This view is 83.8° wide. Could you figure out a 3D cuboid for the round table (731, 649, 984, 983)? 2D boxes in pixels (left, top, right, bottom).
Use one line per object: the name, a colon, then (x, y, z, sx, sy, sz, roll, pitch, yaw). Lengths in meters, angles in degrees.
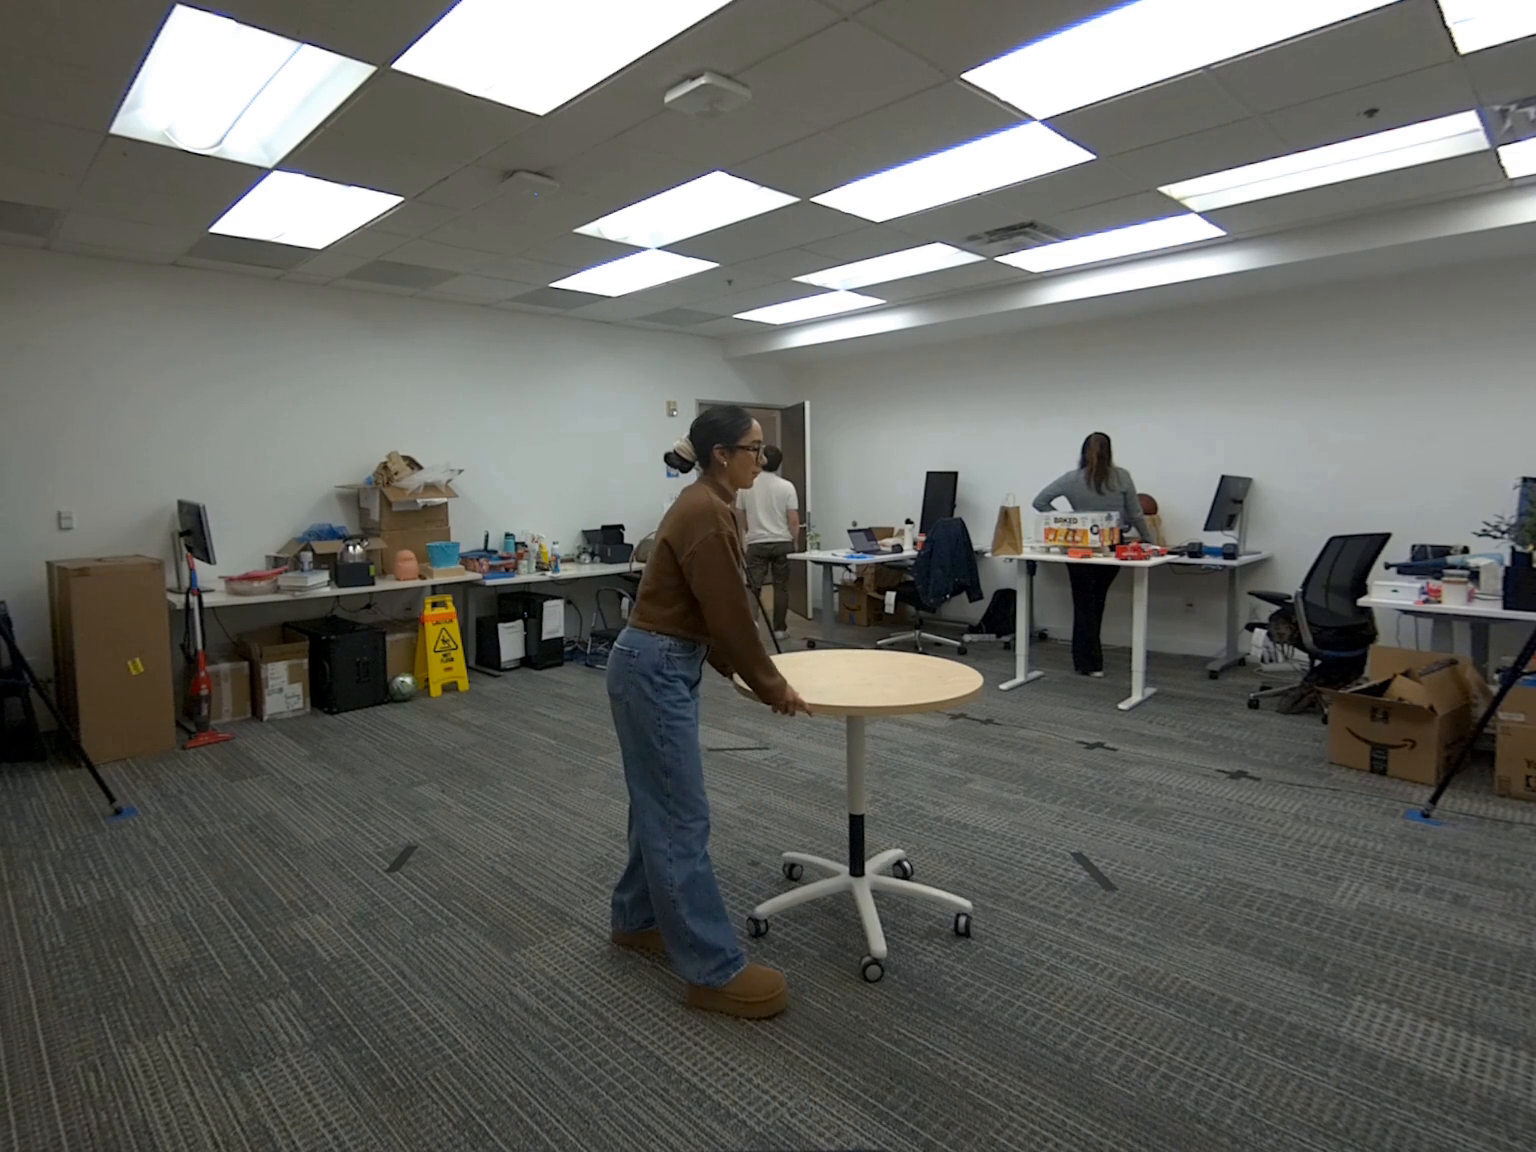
round table: (0.272, 0.689, 2.707, 0.784, 0.783, 0.789, -1, 5, -2)
